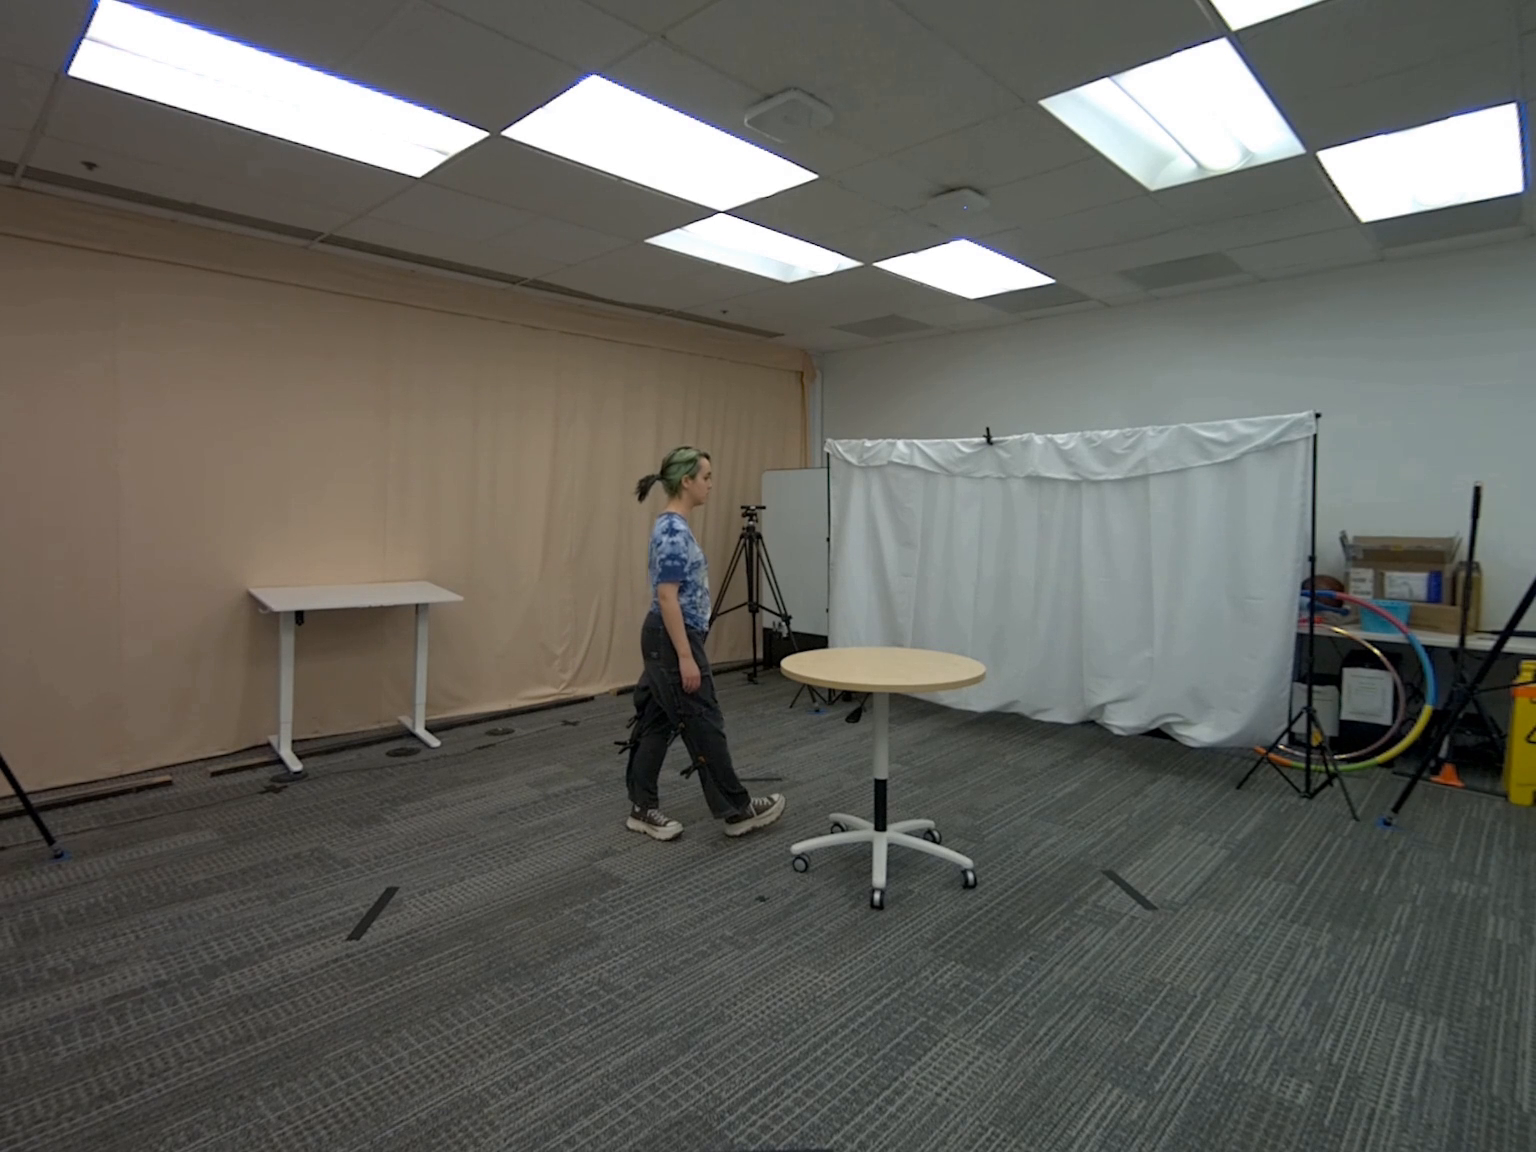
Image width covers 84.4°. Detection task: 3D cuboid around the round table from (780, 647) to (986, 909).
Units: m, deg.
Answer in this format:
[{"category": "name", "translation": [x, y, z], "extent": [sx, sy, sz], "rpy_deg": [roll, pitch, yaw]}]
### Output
[{"category": "round table", "translation": [0.435, 0.732, 3.234], "extent": [0.763, 0.792, 0.766], "rpy_deg": [0, 4, -2]}]
